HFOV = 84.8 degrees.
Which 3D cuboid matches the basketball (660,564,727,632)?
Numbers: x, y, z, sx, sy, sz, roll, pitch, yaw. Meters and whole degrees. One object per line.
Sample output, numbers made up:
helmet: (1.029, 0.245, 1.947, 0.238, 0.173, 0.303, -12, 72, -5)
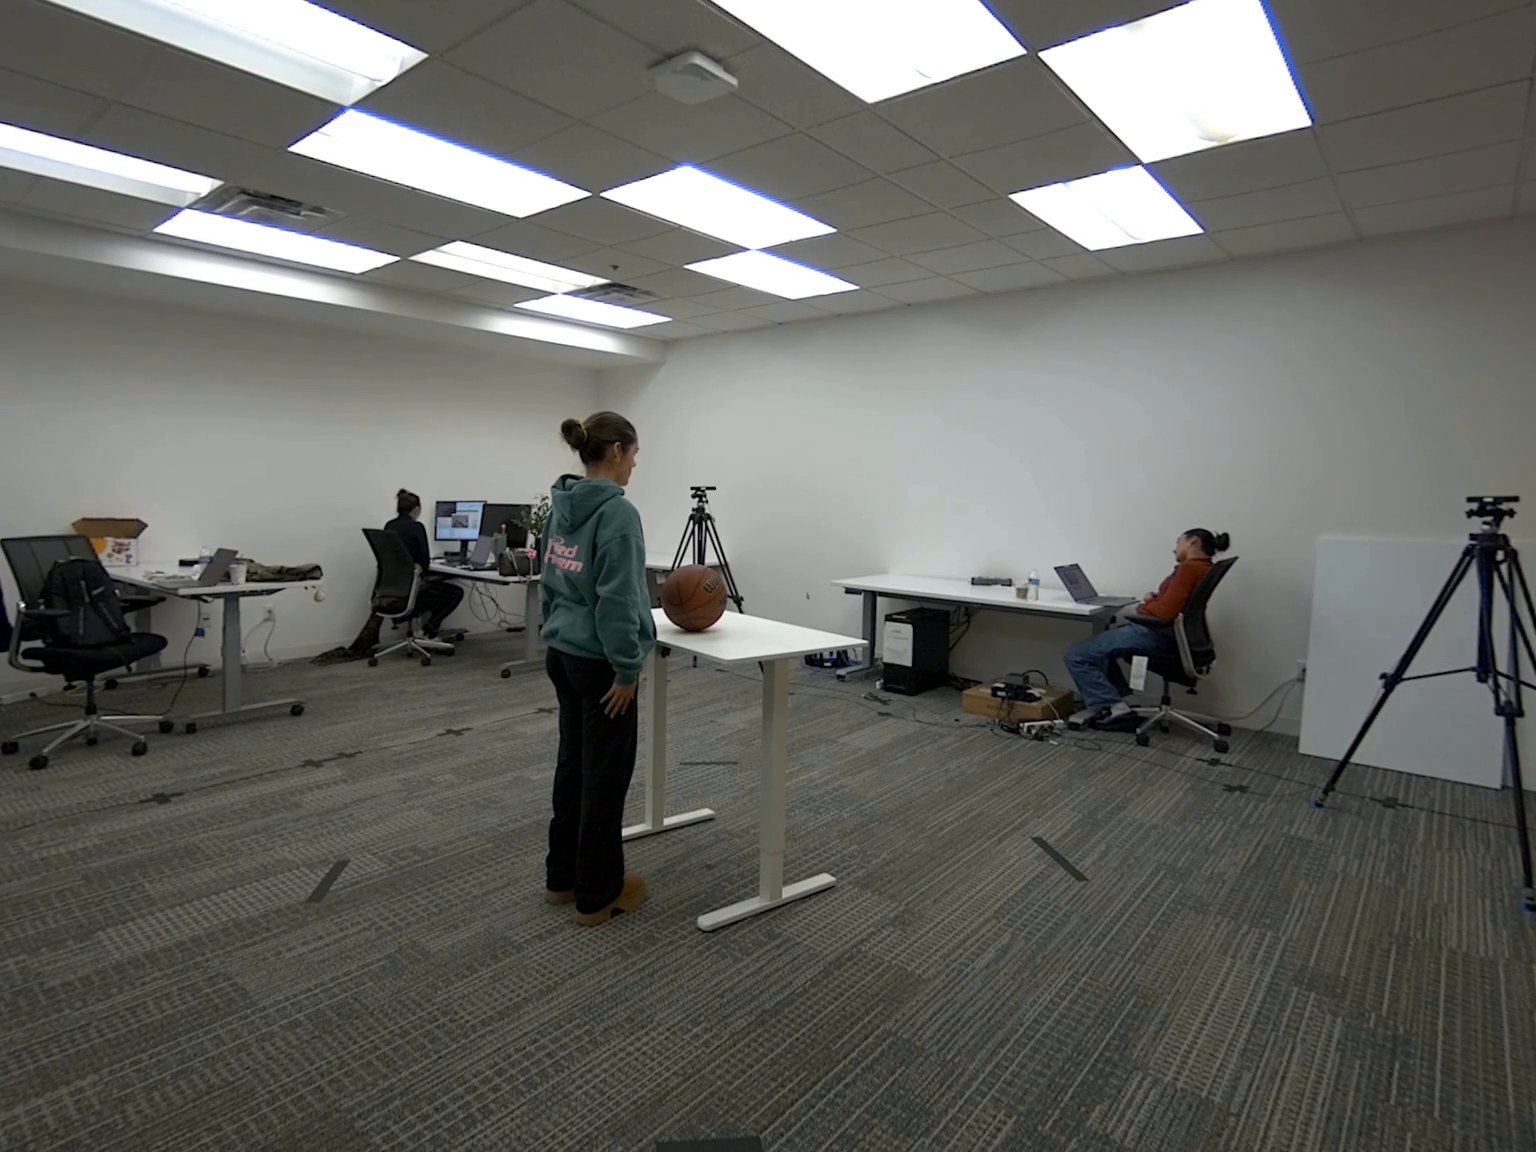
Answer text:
basketball: (-0.269, 0.074, 3.018, 0.235, 0.235, 0.237, 1, 4, -2)
